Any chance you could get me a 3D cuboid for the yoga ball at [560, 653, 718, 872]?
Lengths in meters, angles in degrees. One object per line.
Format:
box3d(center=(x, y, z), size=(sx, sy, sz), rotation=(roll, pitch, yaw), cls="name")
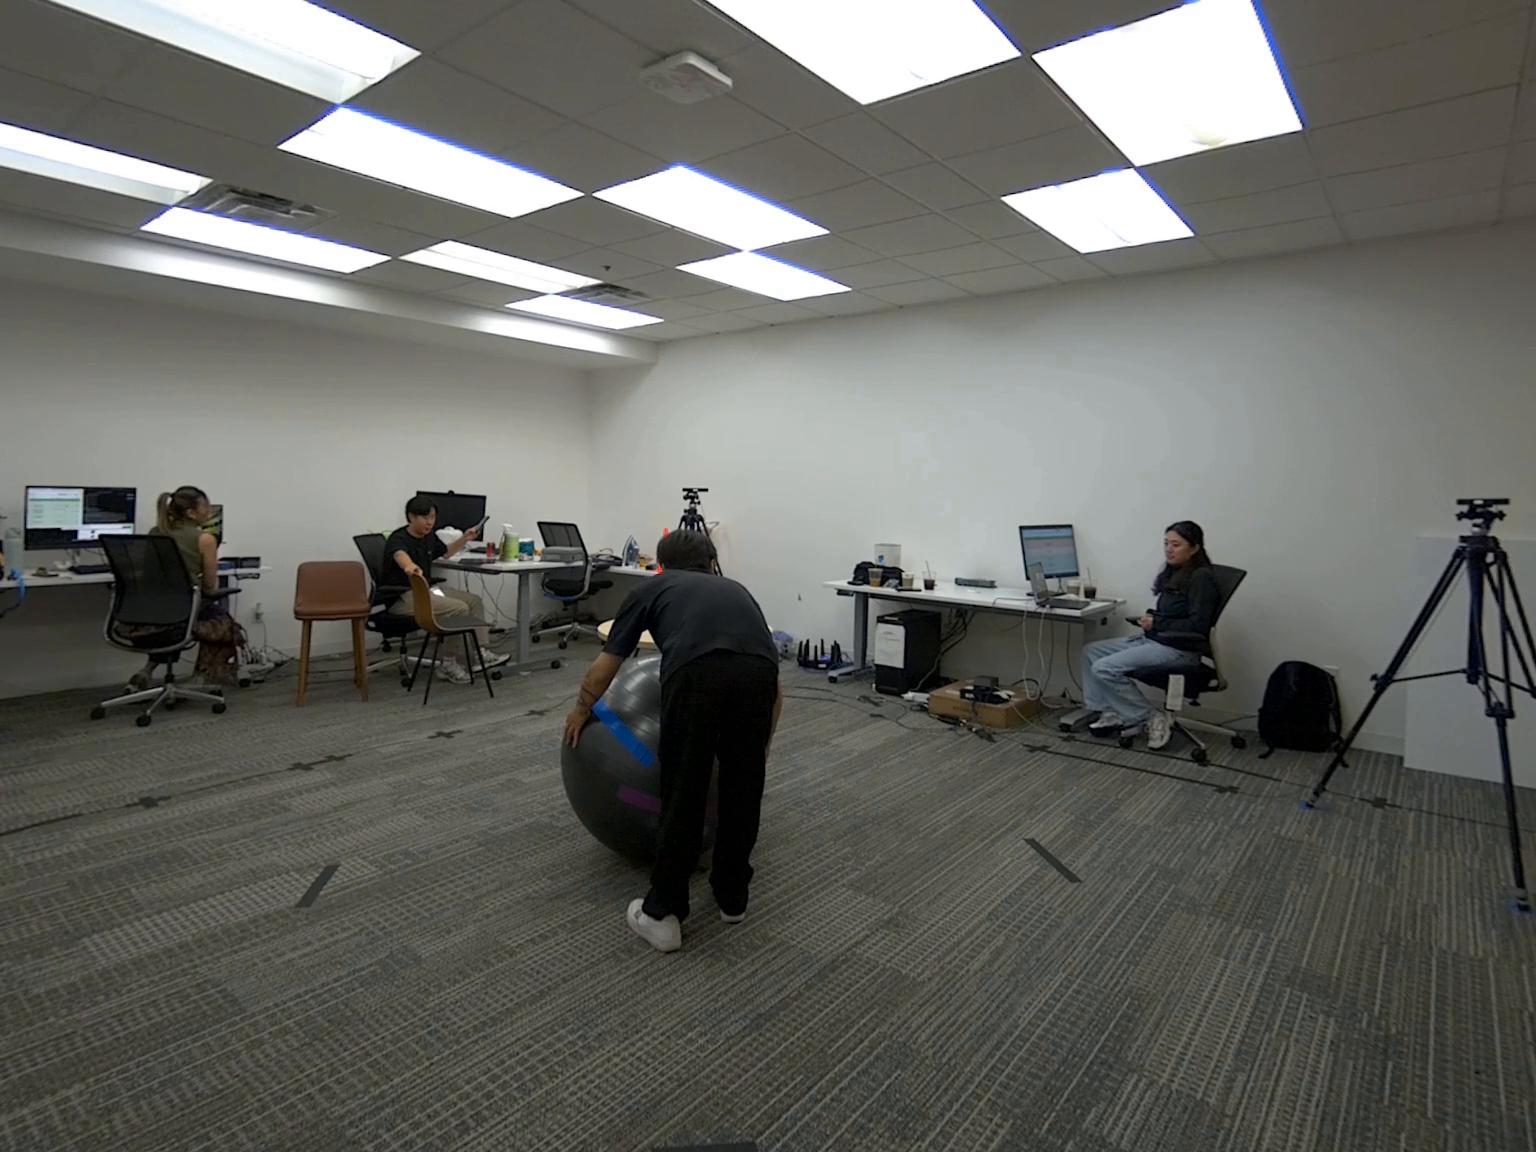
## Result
box3d(center=(-0.414, 0.686, 3.229), size=(0.757, 0.755, 0.762), rotation=(1, 4, -2), cls="yoga ball")
